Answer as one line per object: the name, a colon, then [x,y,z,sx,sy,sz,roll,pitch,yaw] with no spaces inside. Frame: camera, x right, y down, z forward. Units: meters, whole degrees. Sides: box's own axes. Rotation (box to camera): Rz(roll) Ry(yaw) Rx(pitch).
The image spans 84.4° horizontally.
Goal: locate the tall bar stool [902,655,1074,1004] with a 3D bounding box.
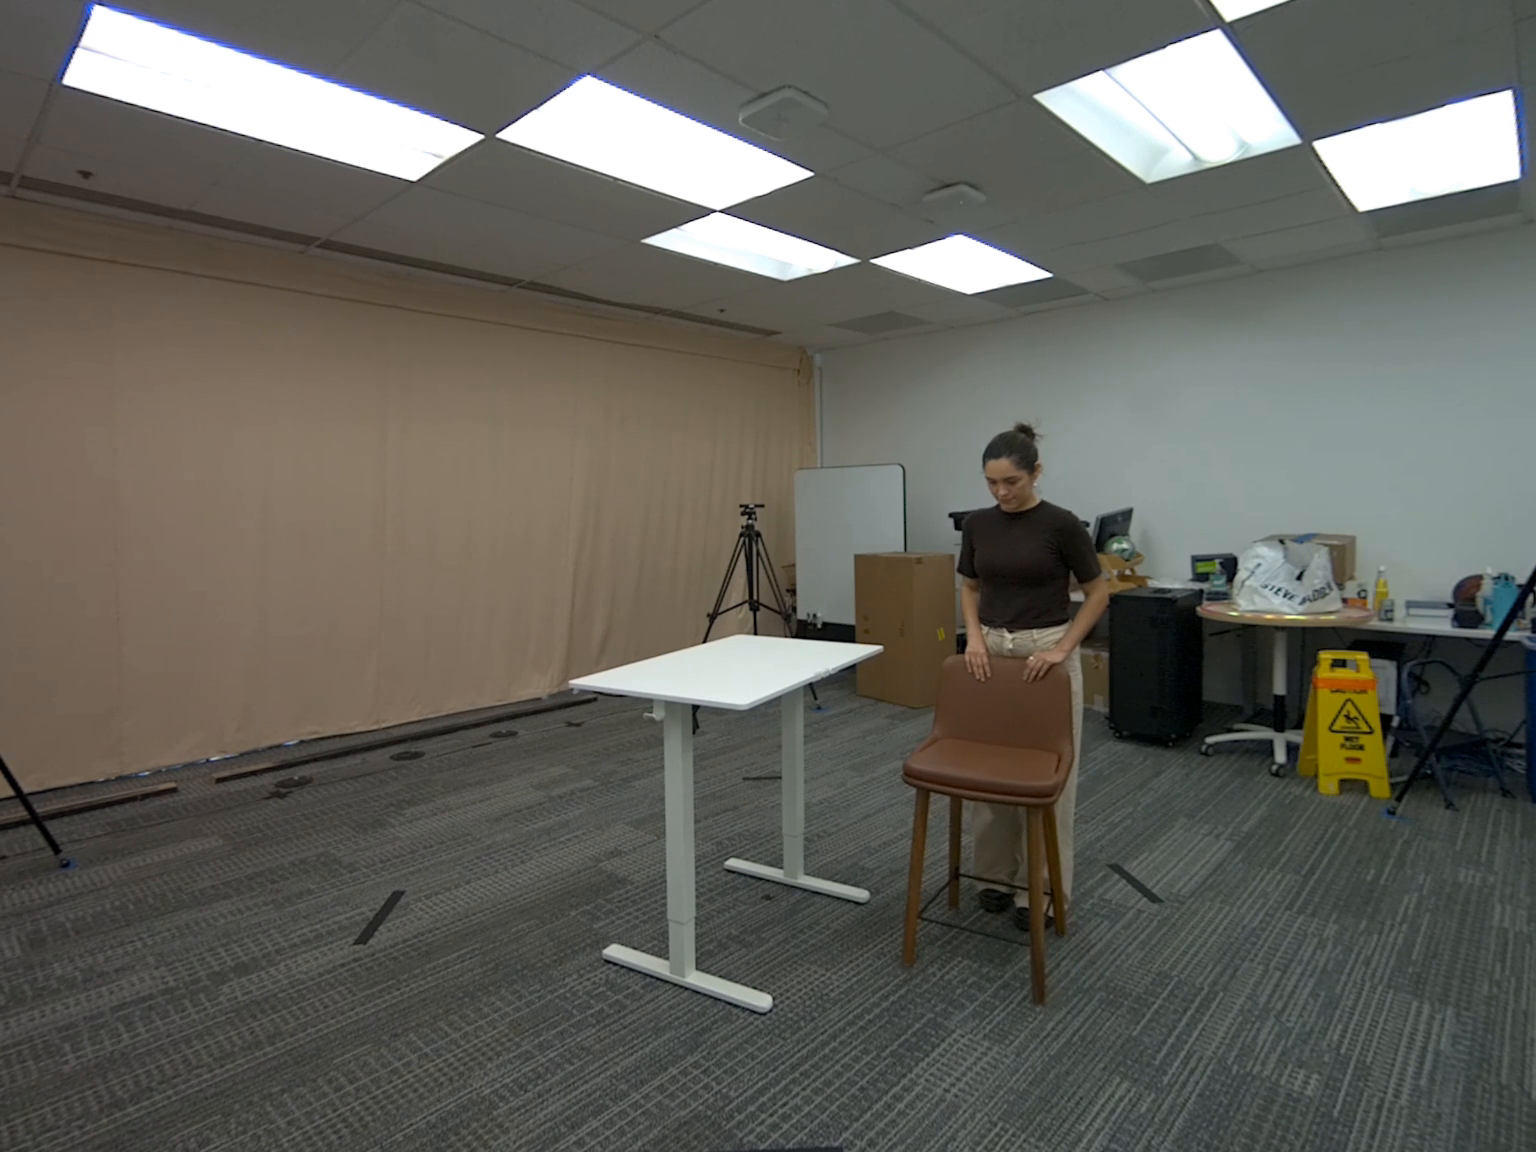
tall bar stool: [0.690,0.723,2.594,0.470,0.889,0.454,2,2,32]
